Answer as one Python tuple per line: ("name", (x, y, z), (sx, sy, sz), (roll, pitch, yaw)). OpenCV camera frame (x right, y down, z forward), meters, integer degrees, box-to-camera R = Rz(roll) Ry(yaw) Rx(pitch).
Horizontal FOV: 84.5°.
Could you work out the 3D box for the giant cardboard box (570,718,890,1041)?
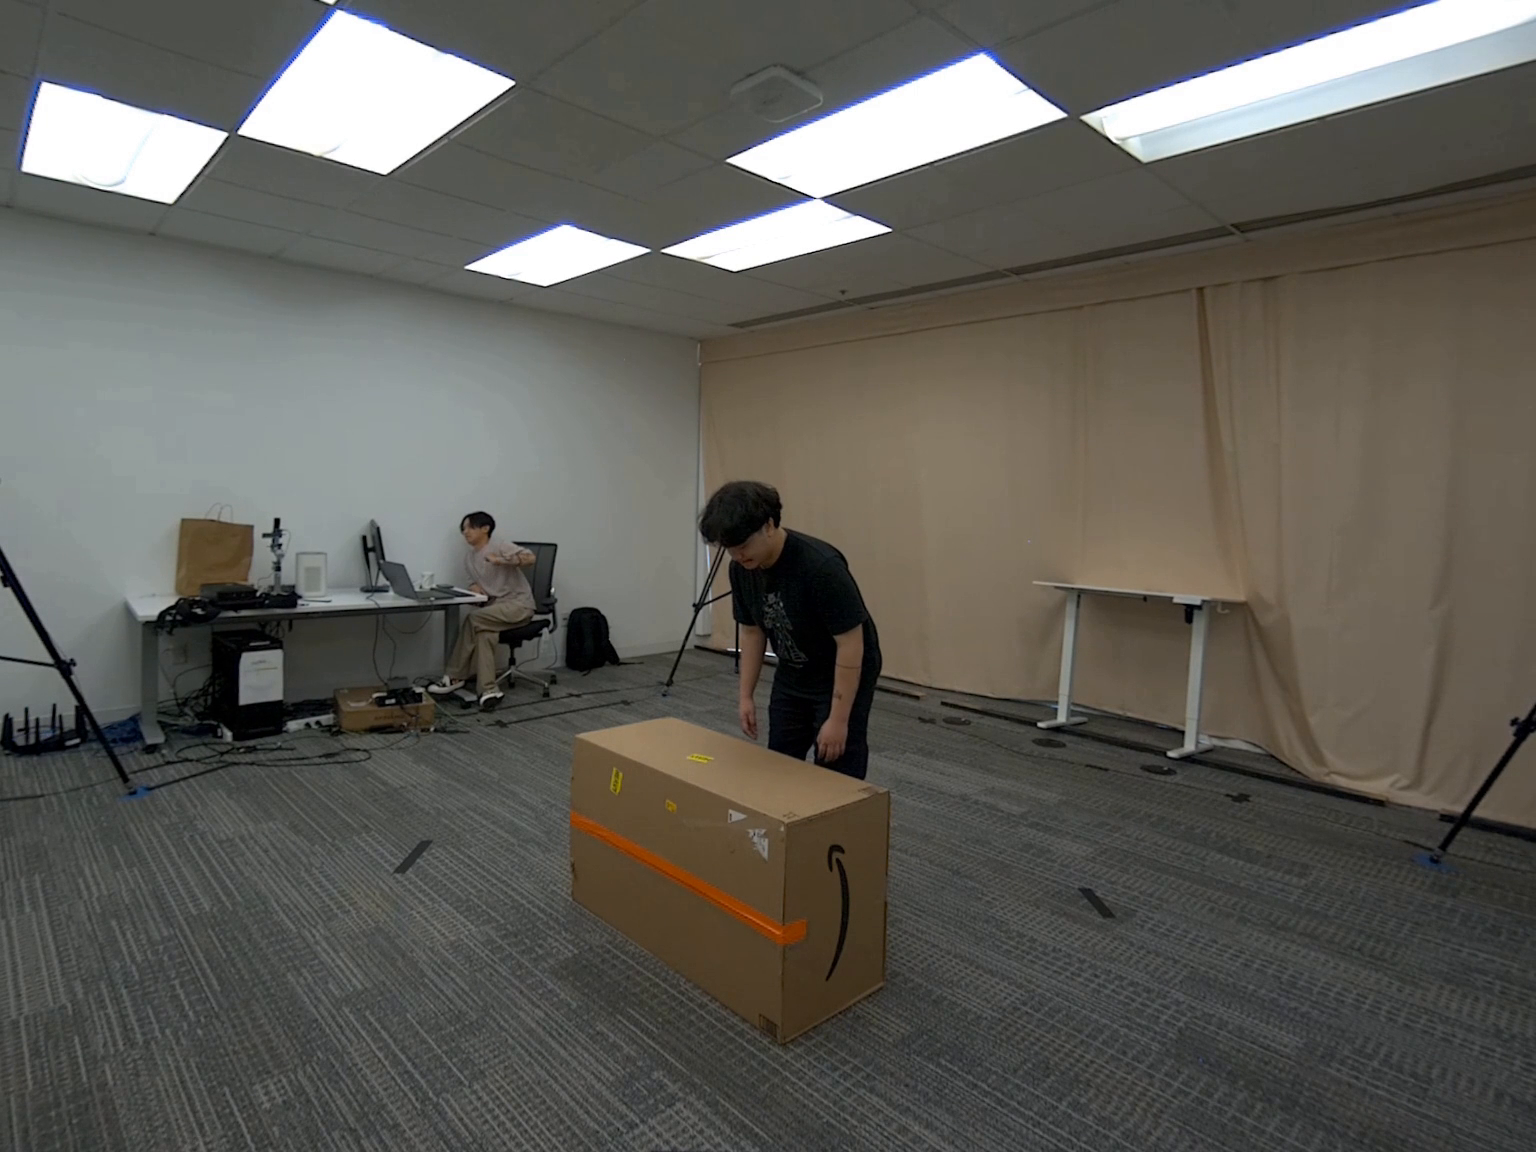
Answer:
("giant cardboard box", (-0.173, 0.865, 2.639), (0.437, 0.582, 1.053), (-3, 6, -43))
